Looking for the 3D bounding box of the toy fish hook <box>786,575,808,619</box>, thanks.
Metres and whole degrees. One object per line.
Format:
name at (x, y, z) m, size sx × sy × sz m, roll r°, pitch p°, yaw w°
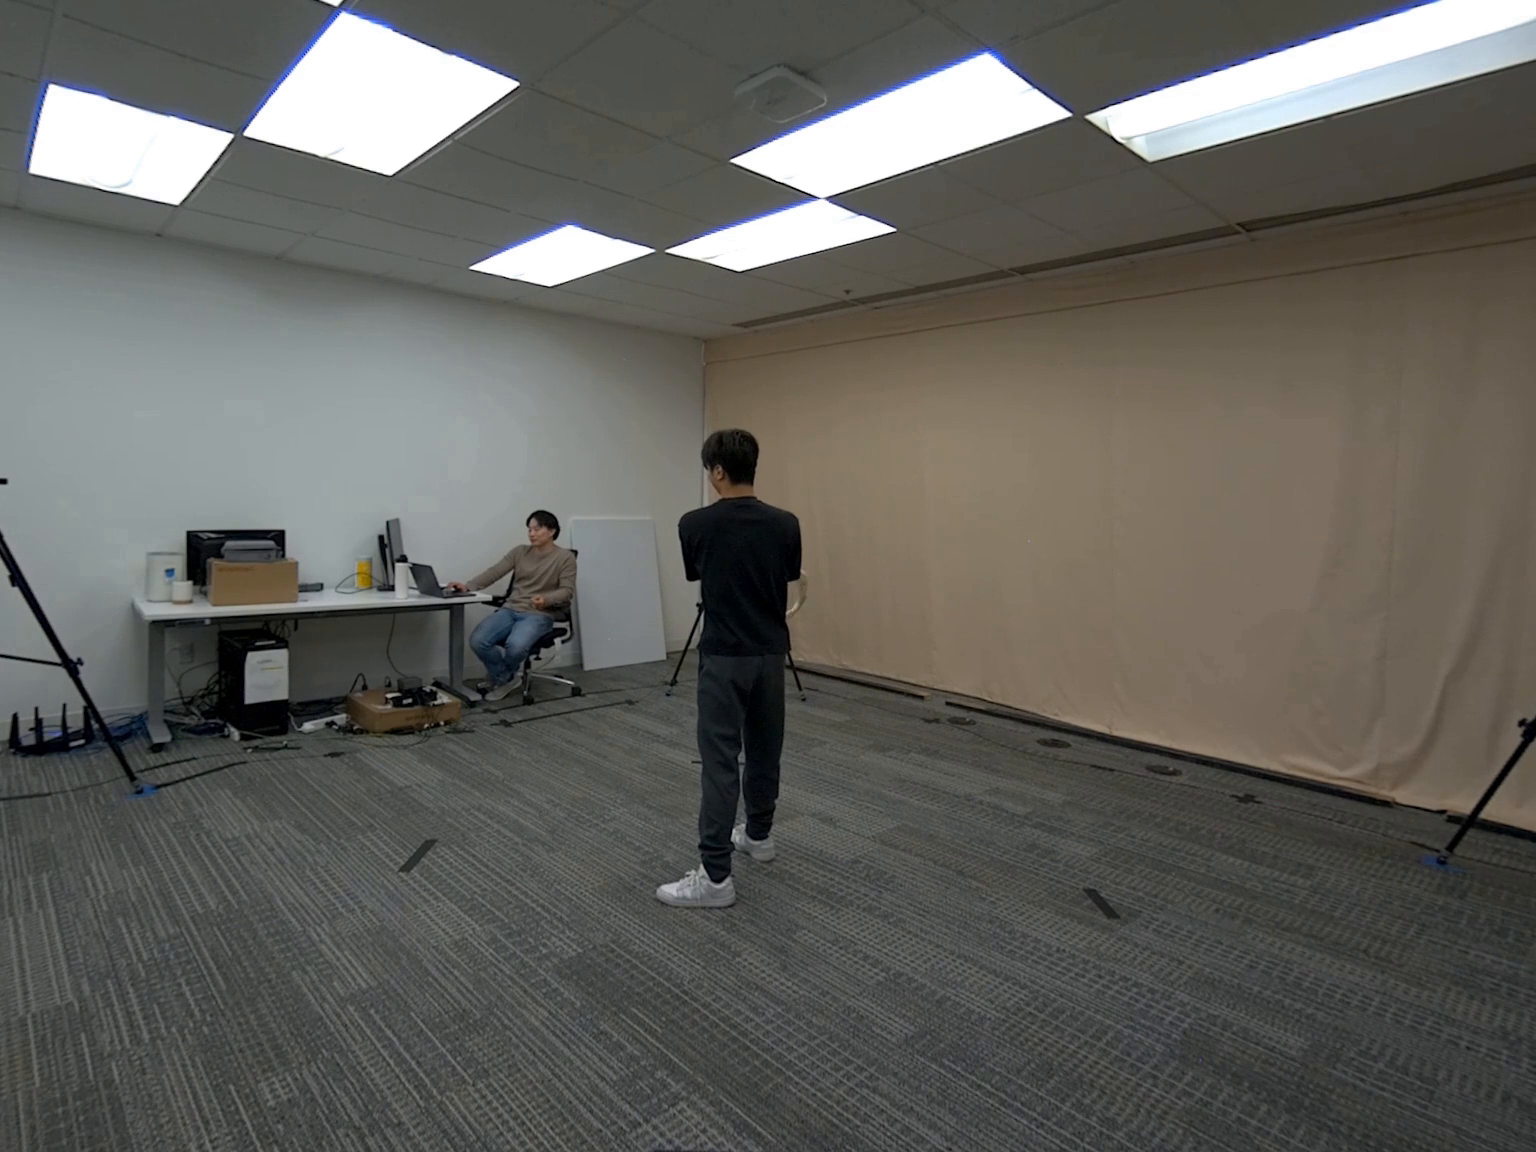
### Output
toy fish hook at (0.007, 0.141, 3.641) m, size 0.049 × 0.221 × 0.501 m, roll 8°, pitch 24°, yaw 39°
